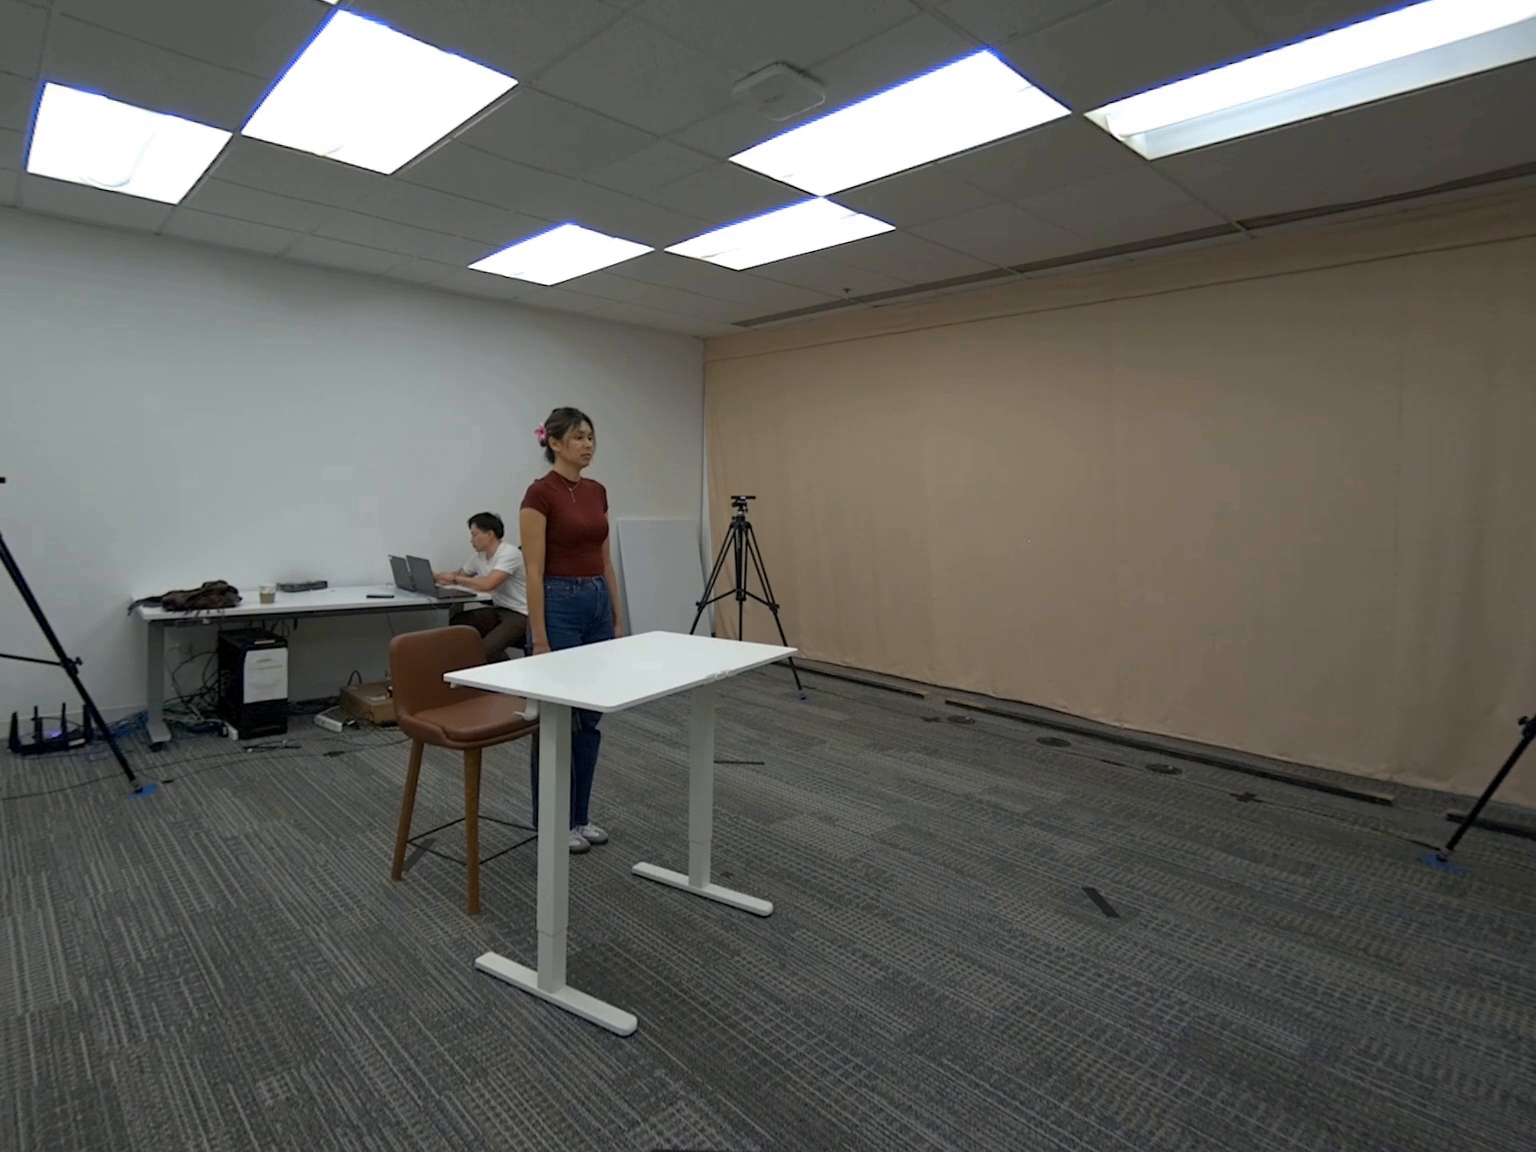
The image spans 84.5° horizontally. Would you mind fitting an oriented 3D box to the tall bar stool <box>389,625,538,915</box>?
[{"bbox_3d":[-1.067,0.656,3.023,0.478,0.888,0.448,2,4,31],"label":"tall bar stool"}]
